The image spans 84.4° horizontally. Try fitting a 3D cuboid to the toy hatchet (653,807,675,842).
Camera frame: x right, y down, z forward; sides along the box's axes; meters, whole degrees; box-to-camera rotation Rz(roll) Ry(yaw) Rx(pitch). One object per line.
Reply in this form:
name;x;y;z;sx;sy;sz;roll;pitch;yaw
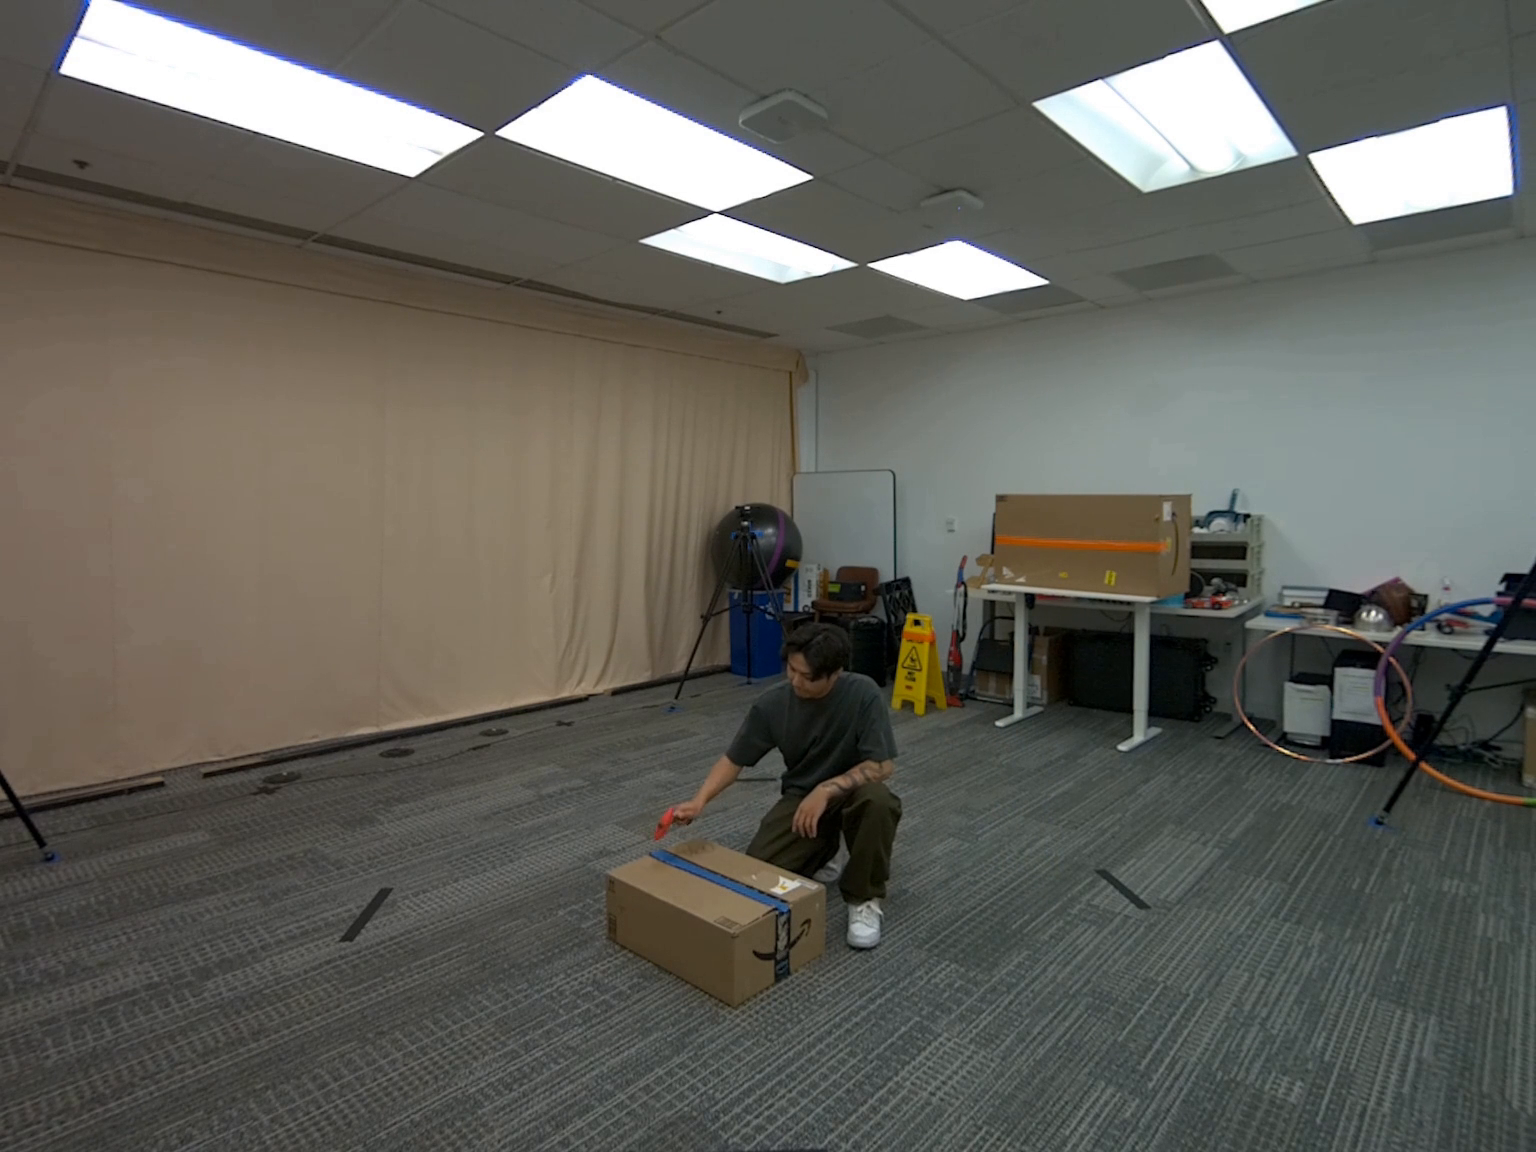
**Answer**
toy hatchet;-0.308;0.870;2.878;0.030;0.131;0.263;29;-13;22
